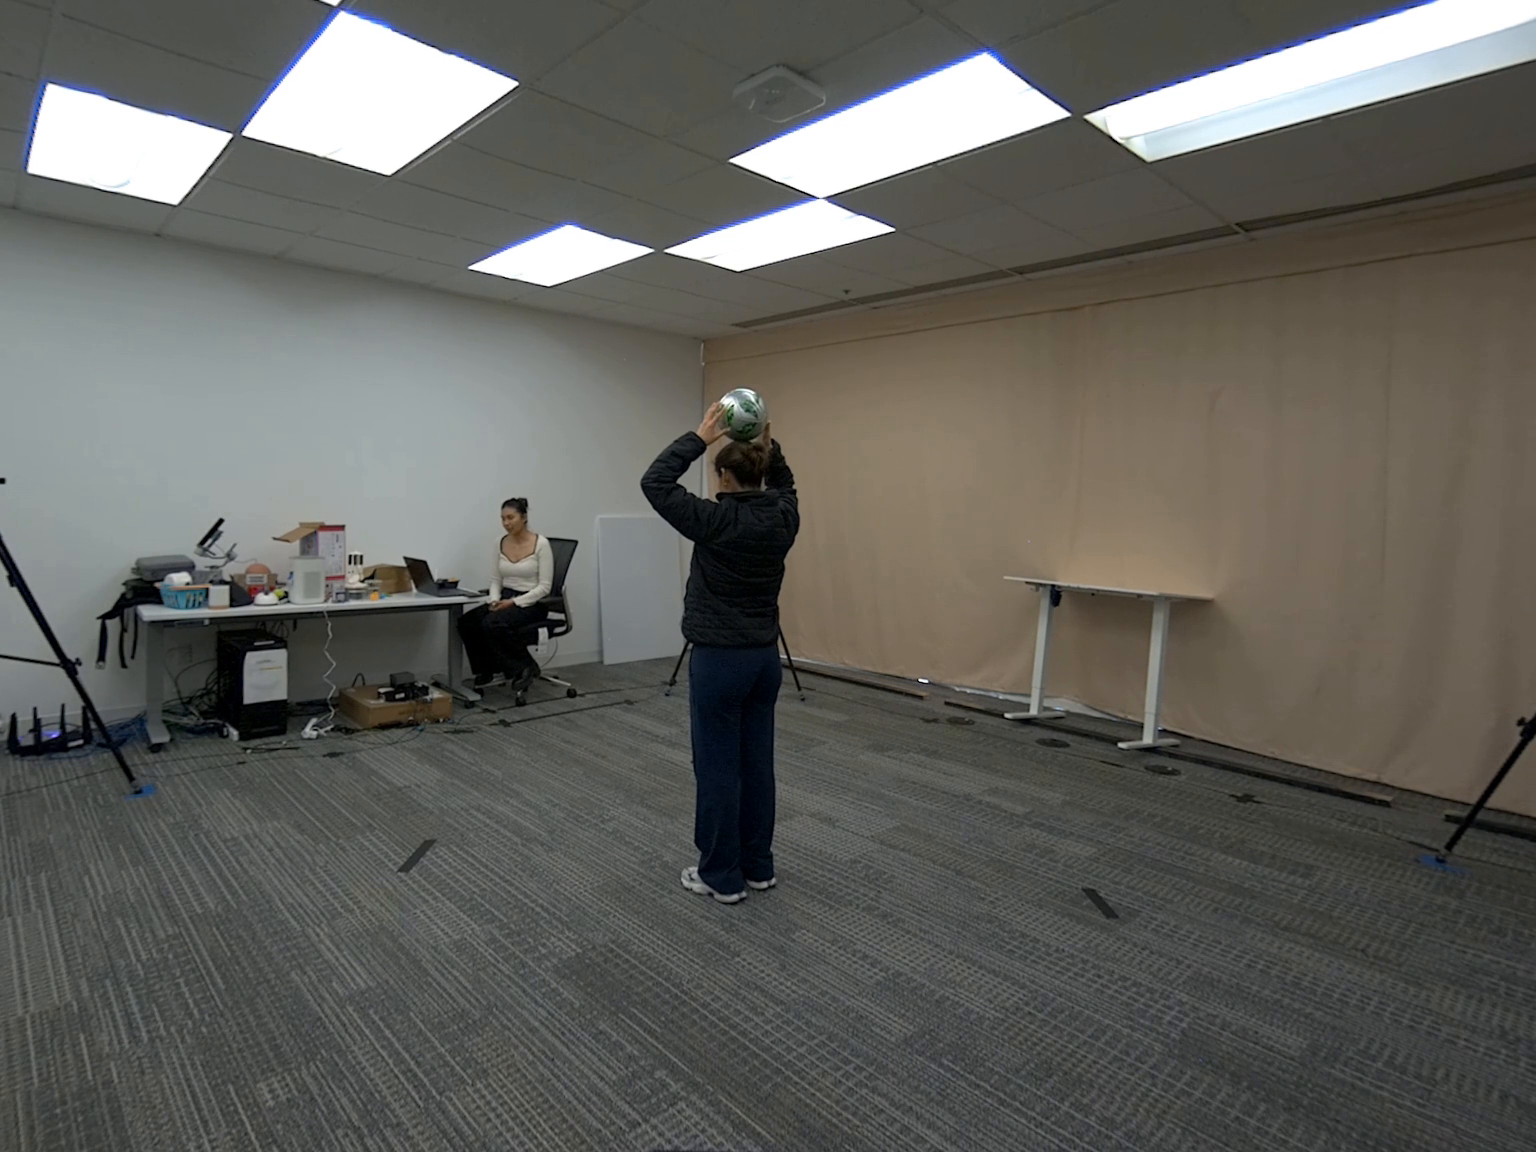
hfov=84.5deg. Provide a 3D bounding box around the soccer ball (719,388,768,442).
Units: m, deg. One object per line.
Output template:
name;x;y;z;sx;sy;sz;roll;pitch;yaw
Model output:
soccer ball;-0.093;-0.567;2.987;0.187;0.187;0.188;1;4;-1
